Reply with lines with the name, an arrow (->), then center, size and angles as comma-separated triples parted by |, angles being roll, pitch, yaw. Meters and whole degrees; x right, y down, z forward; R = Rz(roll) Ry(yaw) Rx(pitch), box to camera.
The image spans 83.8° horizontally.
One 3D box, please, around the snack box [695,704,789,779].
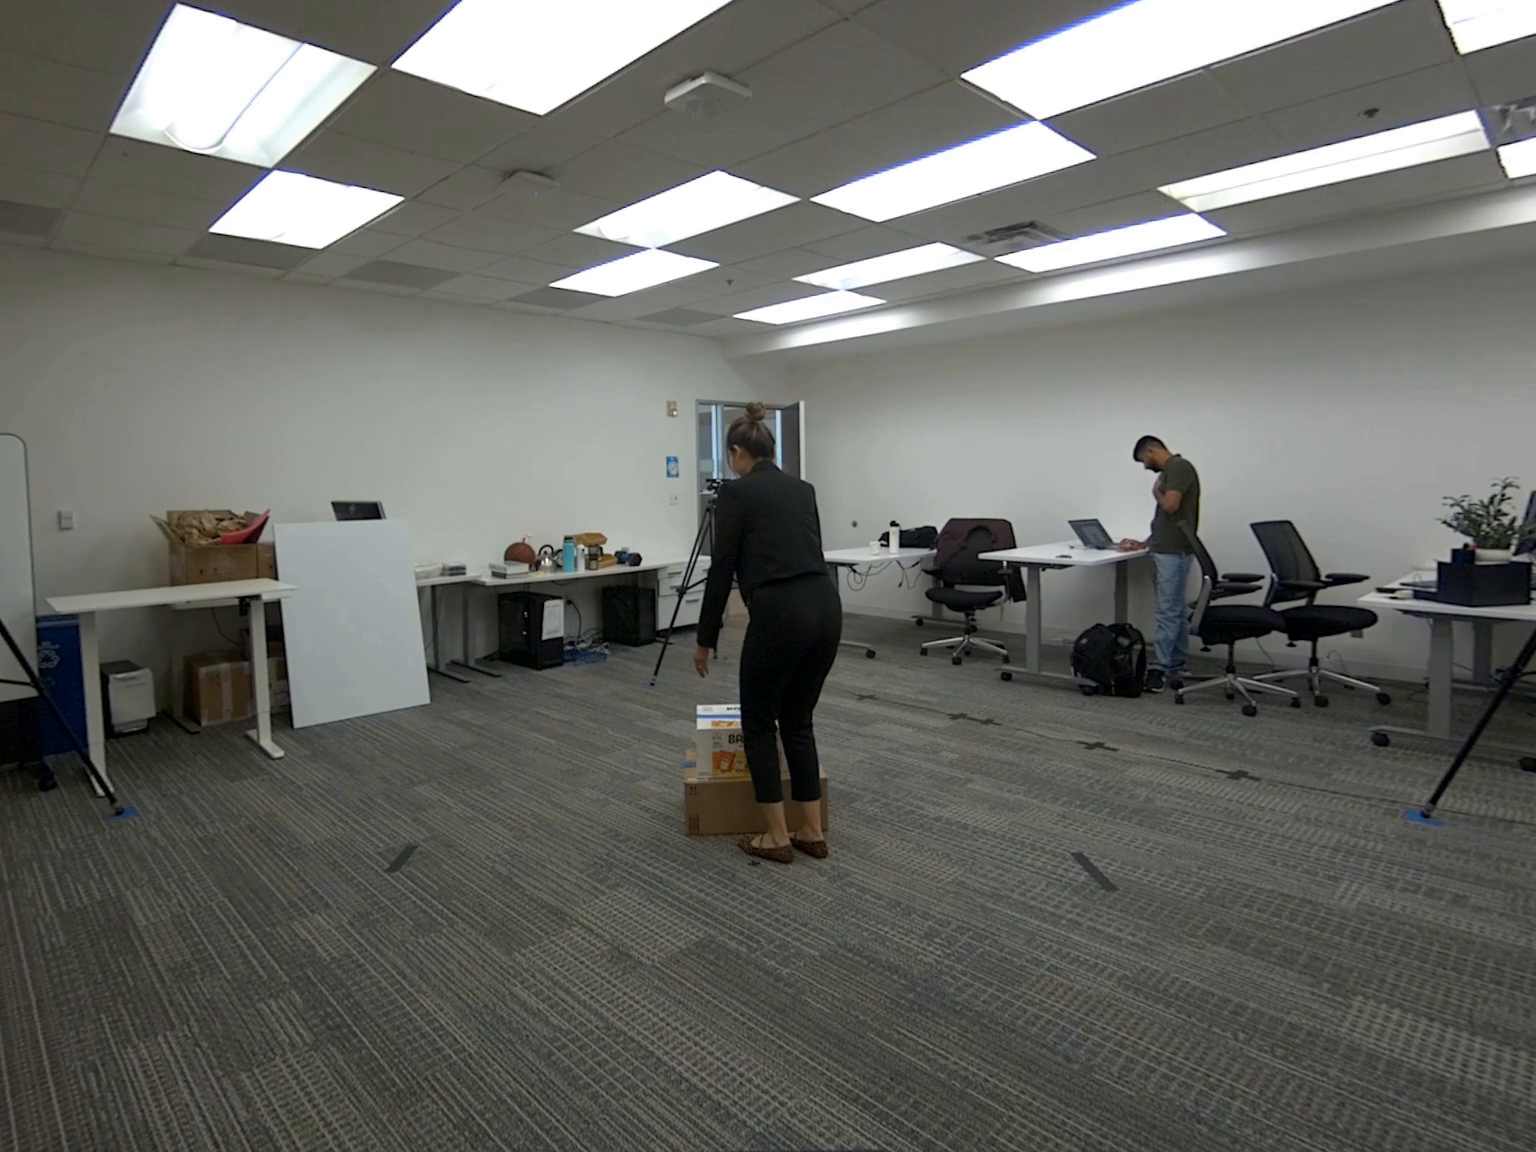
snack box -> -0.092, 0.677, 3.549 | 0.404, 0.204, 0.343 | -2, 7, -3
